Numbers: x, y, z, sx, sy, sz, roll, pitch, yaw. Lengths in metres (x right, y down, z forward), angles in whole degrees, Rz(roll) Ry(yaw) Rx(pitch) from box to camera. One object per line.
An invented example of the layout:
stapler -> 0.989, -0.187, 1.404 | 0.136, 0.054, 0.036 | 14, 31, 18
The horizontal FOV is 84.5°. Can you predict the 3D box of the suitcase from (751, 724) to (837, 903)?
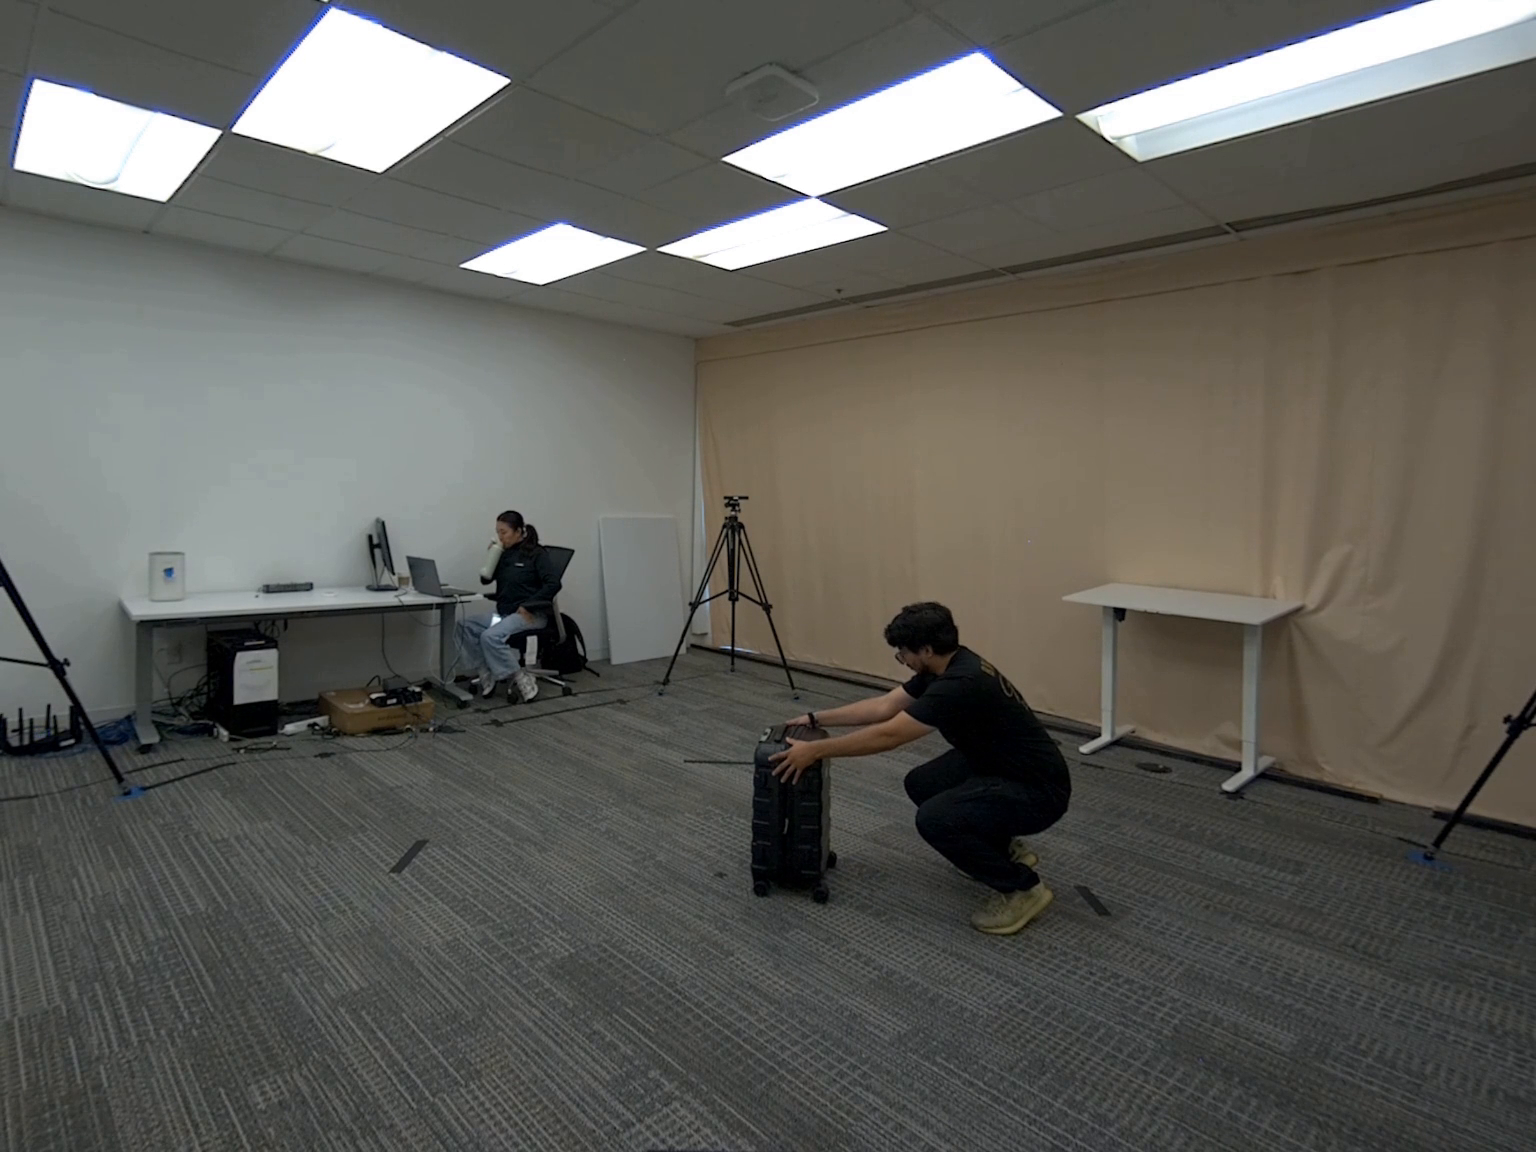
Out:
suitcase -> 0.090, 0.833, 3.073 | 0.250, 0.548, 0.373 | -1, 3, 9
